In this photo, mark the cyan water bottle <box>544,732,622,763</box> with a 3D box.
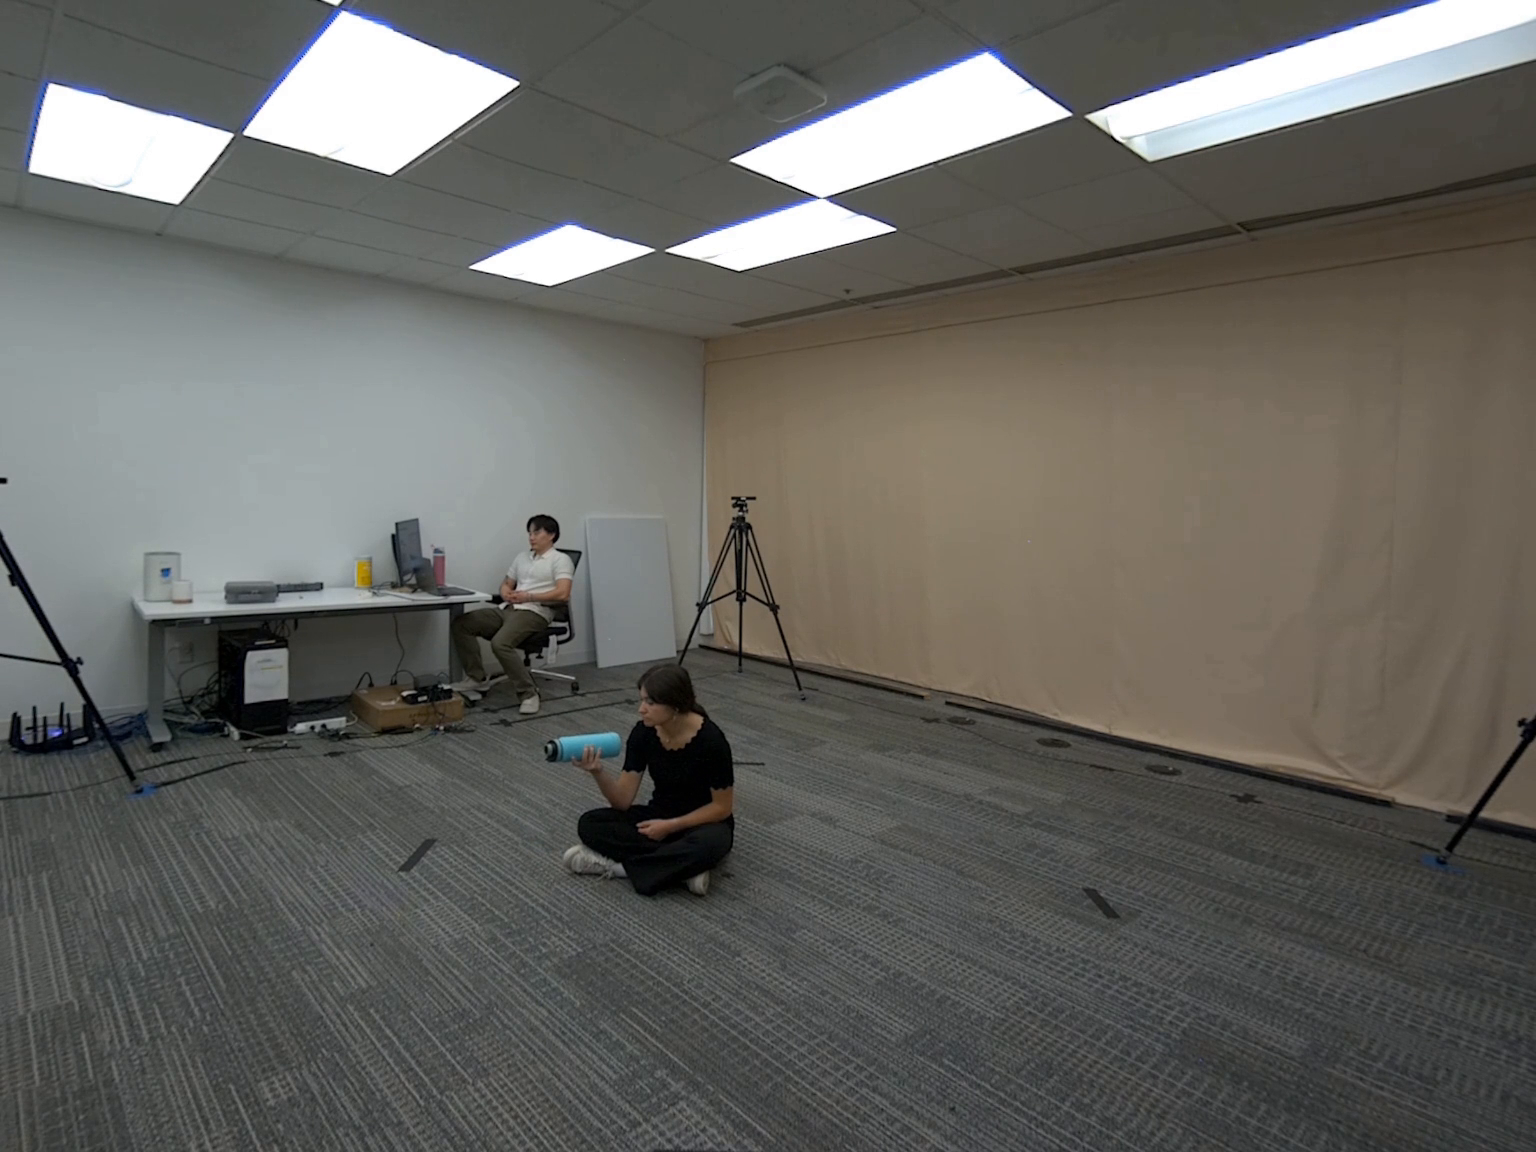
[{"bbox_3d":[-0.683,0.622,3.042,0.277,0.092,0.094,1,3,-37],"label":"cyan water bottle"}]
